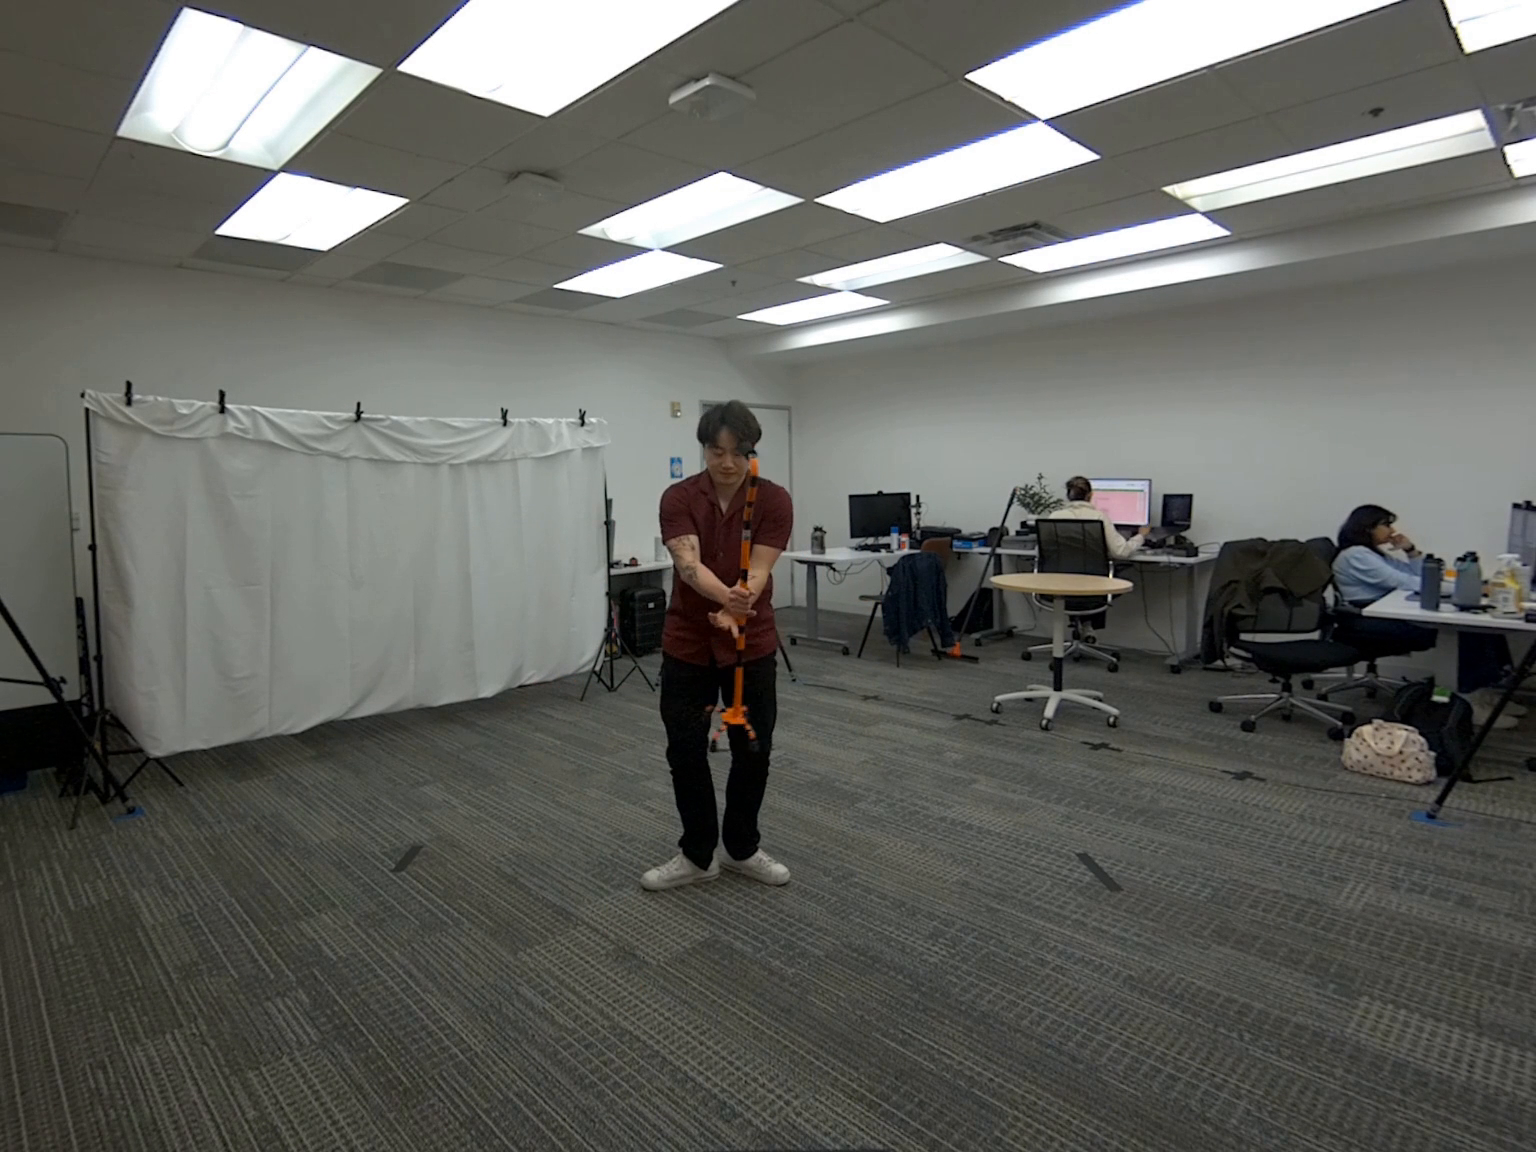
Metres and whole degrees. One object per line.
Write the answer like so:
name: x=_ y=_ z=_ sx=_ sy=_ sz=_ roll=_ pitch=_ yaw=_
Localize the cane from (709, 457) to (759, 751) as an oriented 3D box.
cane: x=-0.089 y=0.076 z=2.530 sx=0.150 sy=0.894 sz=0.212 roll=1 pitch=20 yaw=-12
